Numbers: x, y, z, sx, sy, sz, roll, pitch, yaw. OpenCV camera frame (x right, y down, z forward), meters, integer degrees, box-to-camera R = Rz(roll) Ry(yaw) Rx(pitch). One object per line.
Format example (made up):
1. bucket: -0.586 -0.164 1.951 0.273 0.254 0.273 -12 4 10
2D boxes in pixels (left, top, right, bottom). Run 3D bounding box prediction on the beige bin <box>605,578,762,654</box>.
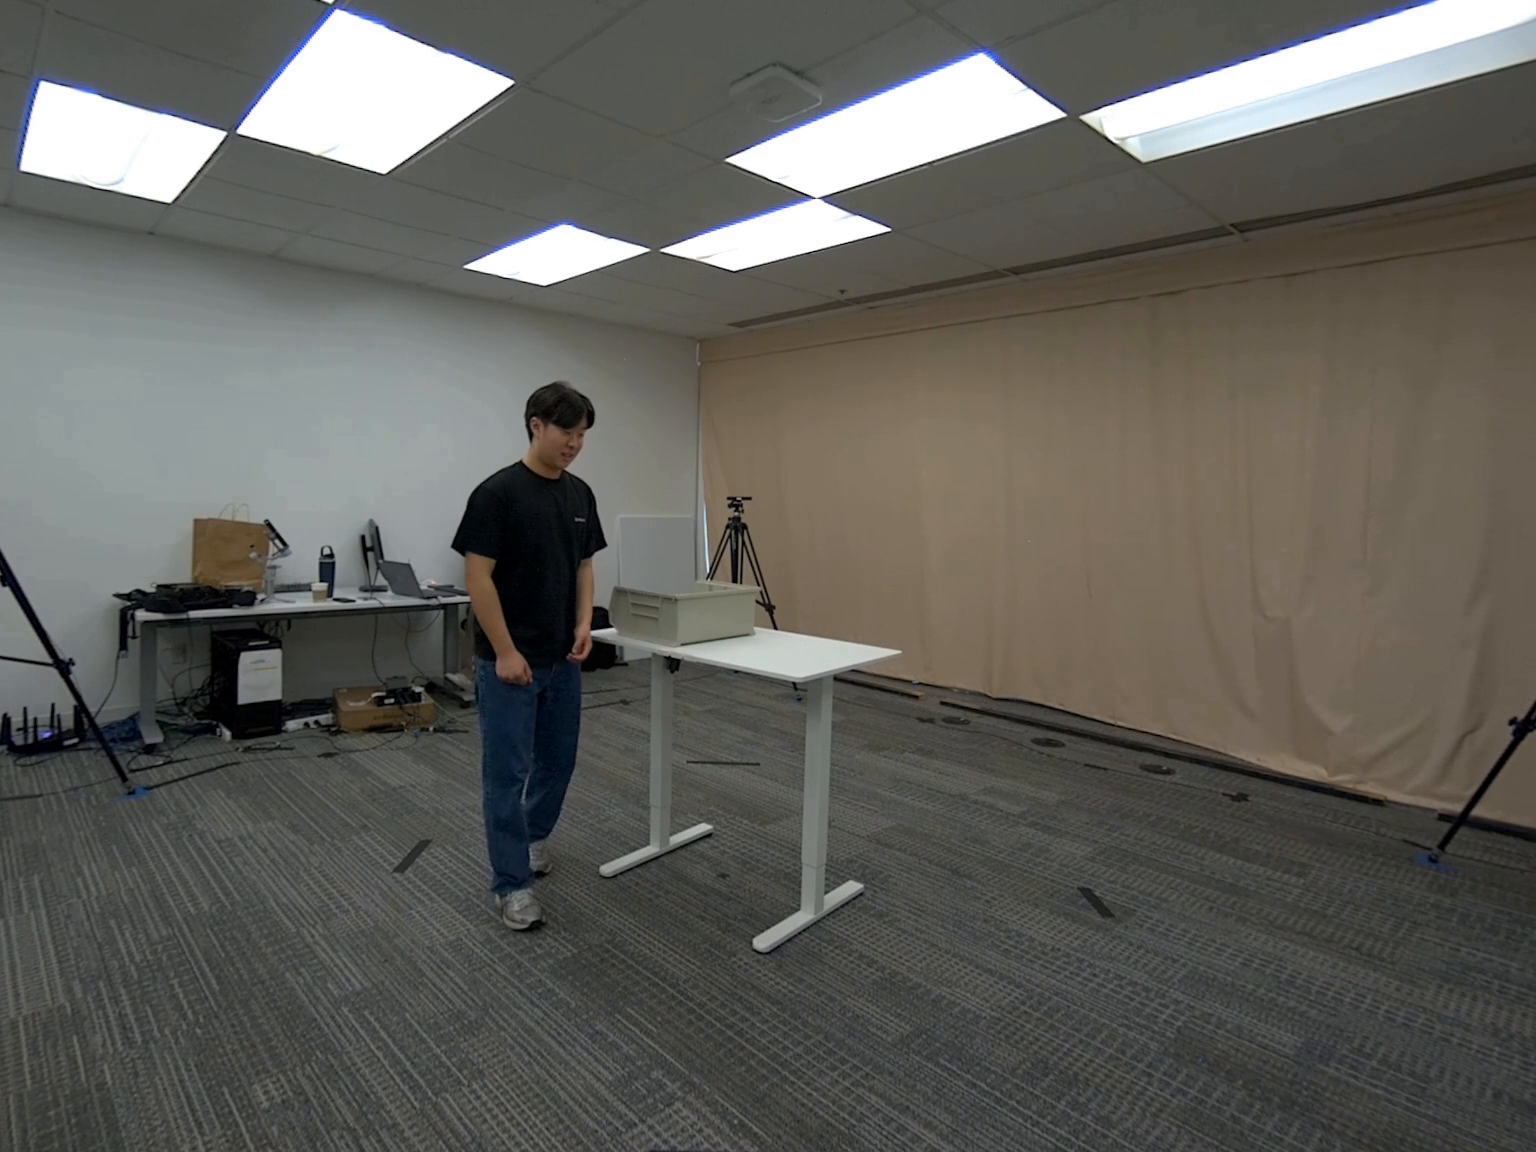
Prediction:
1. beige bin: -0.311 0.133 3.107 0.387 0.188 0.413 8 8 43
